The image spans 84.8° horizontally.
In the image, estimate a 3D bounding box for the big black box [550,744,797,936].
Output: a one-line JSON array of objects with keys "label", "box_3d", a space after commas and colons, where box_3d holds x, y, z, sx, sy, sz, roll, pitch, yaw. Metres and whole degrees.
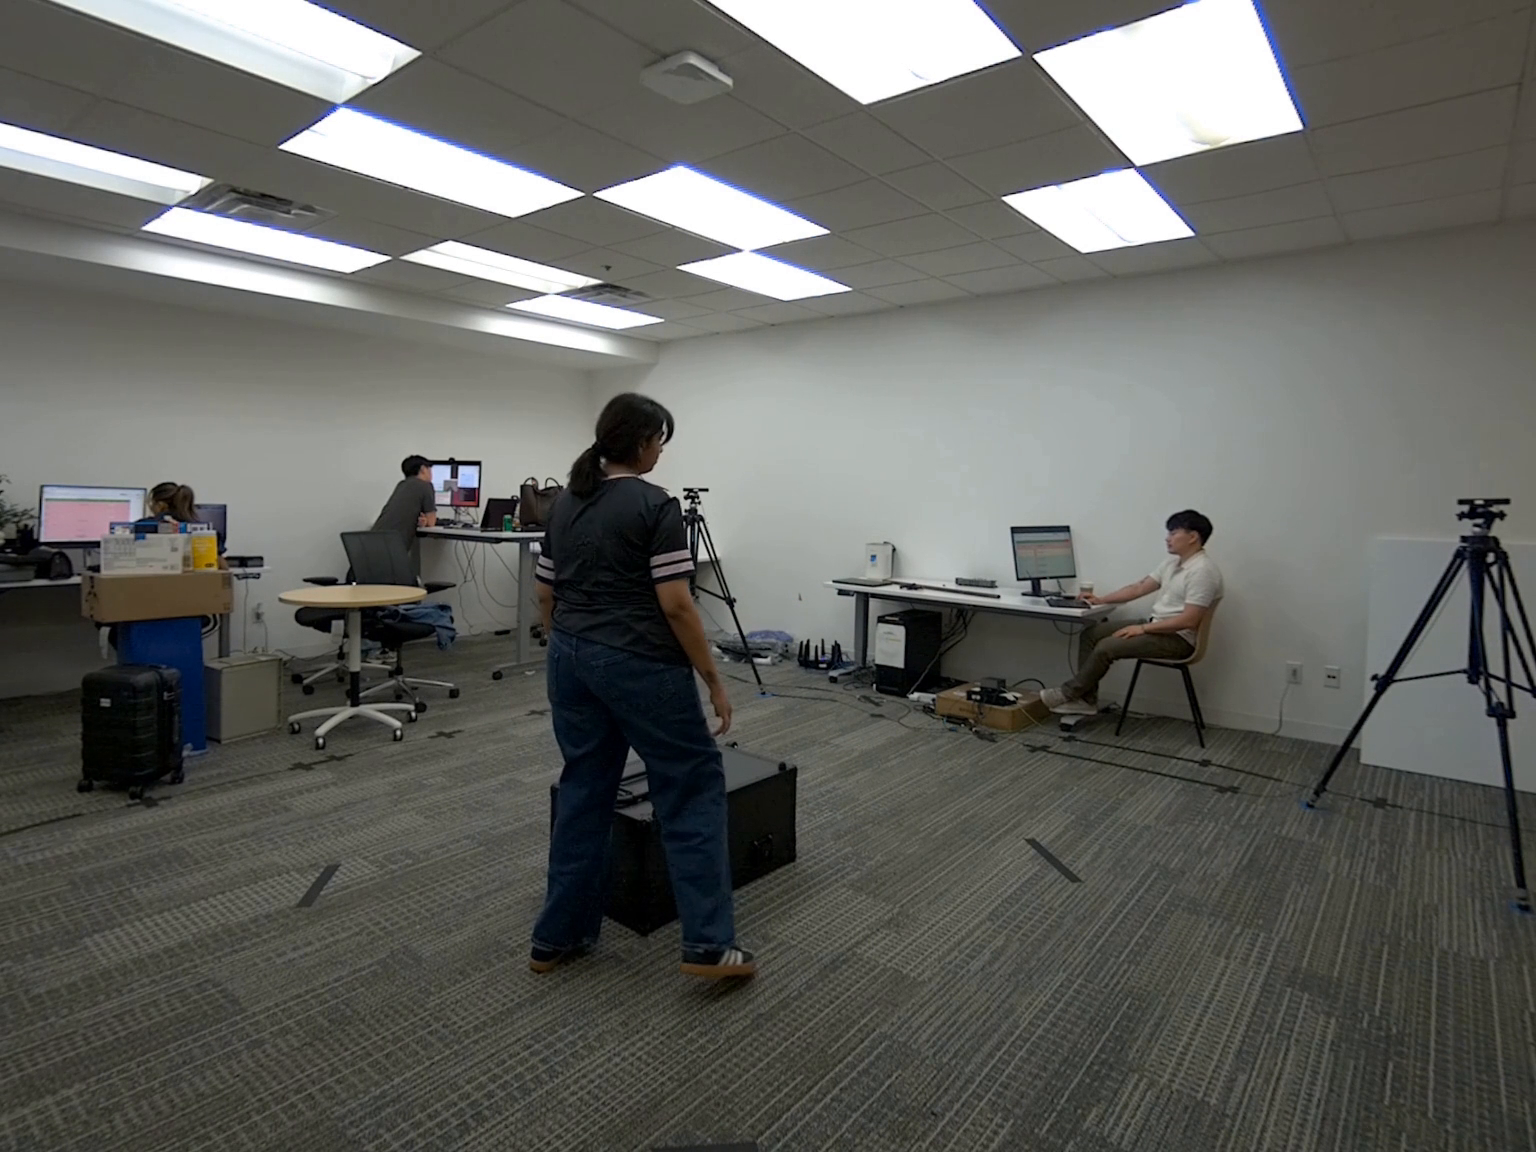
[{"label": "big black box", "box_3d": [-0.314, 0.886, 3.096, 0.541, 0.384, 0.843, 3, 5, 40]}]
